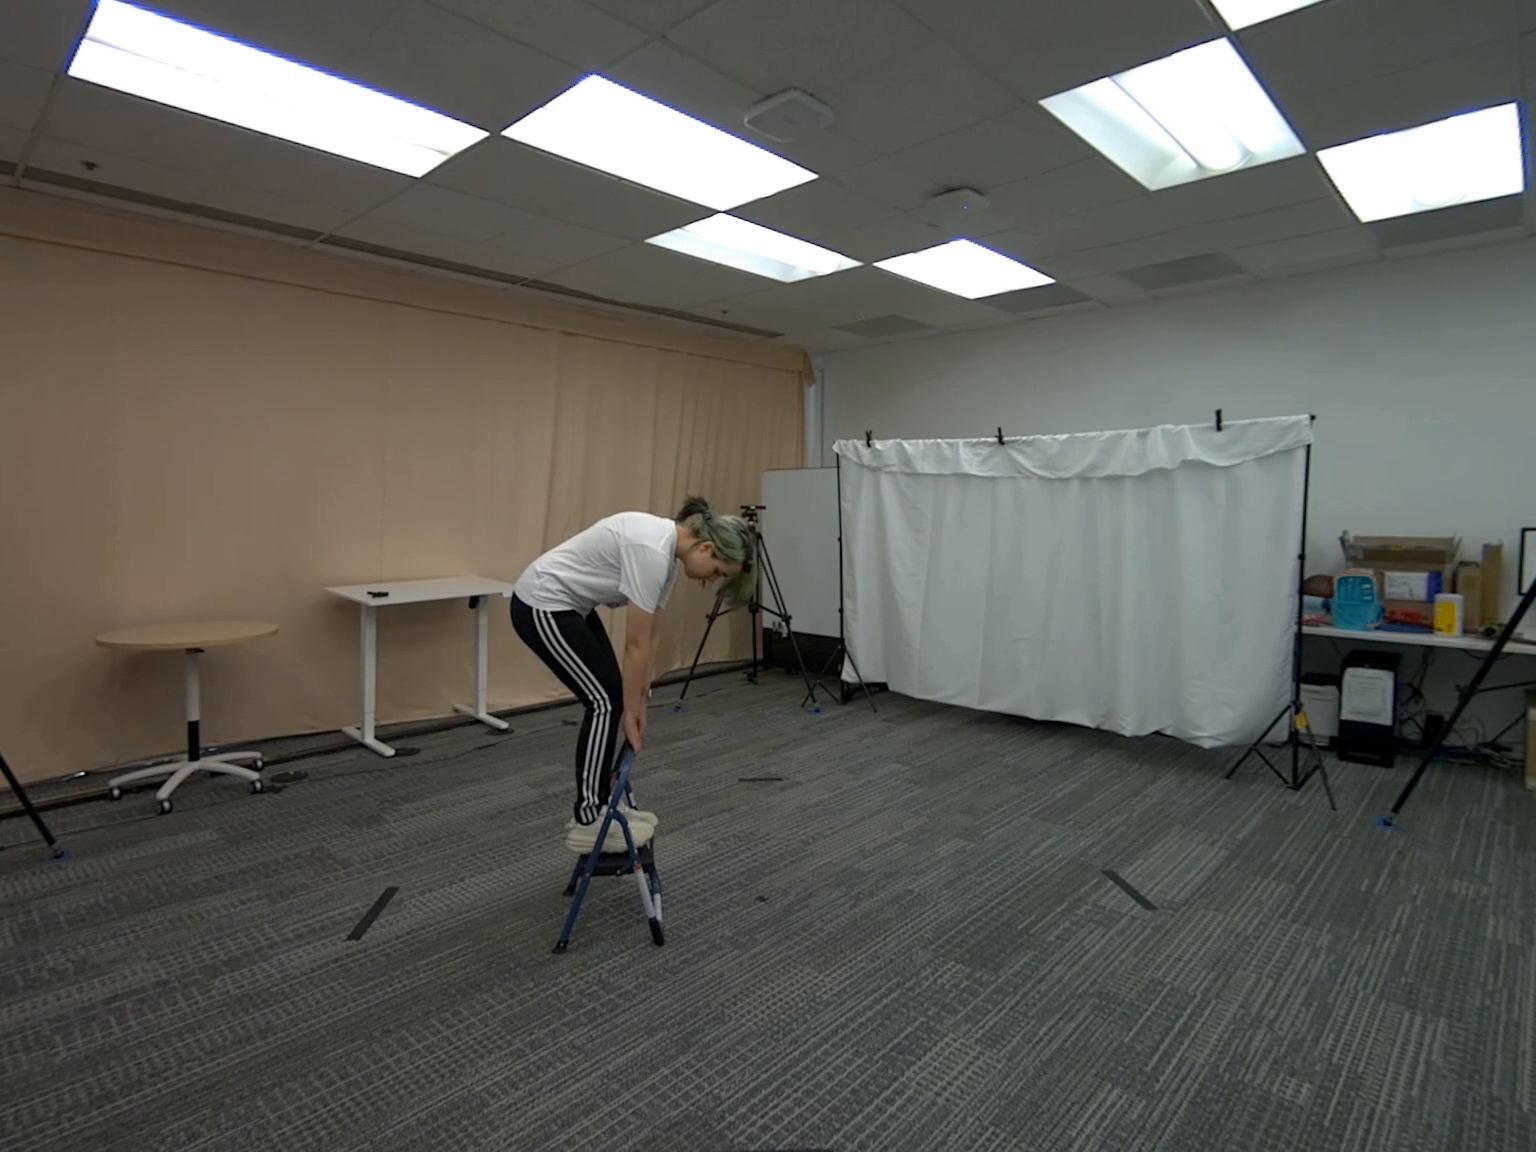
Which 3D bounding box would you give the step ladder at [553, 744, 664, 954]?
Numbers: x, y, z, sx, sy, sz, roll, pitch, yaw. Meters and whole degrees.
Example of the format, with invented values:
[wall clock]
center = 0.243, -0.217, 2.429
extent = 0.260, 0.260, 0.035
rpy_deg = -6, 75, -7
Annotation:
[step ladder]
center = -0.533, 0.865, 2.835
extent = 0.346, 0.605, 0.435
rpy_deg = -1, 3, -8
